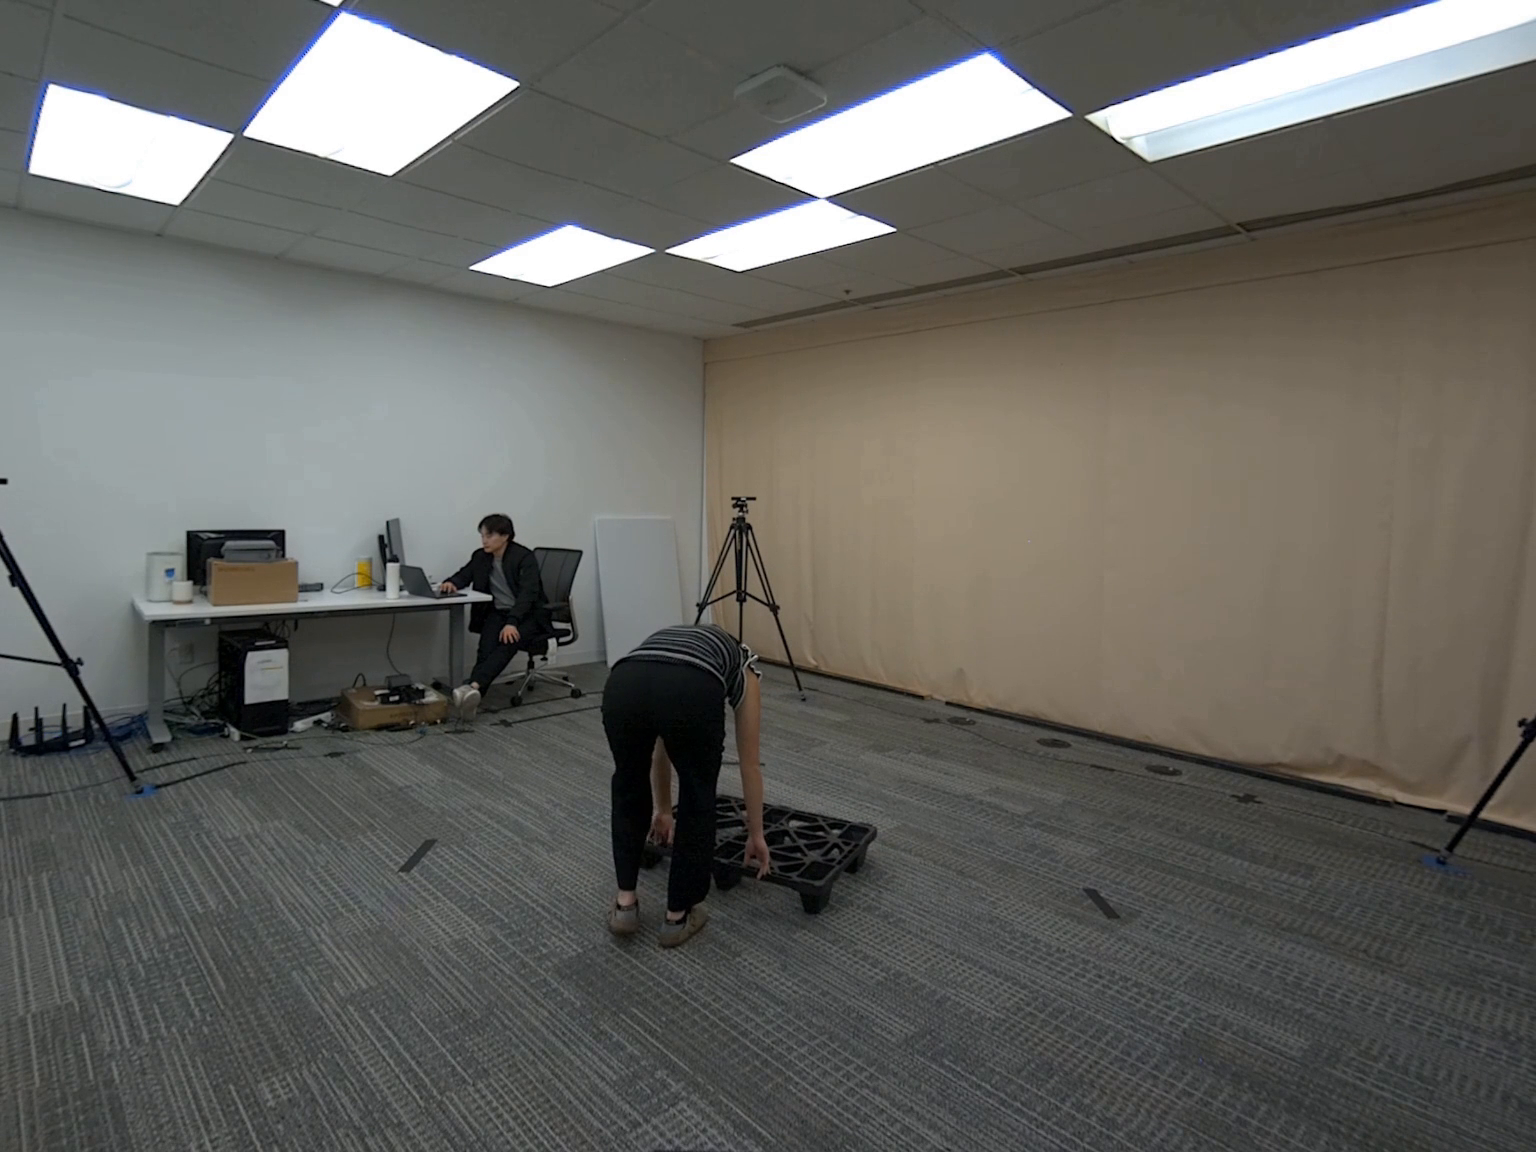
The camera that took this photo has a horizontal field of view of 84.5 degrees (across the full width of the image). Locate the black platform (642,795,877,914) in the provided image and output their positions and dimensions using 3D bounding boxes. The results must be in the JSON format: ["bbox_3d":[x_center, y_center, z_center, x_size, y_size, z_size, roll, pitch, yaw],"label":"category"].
[{"bbox_3d":[-0.067,1.032,3.201,0.822,0.143,0.594,4,5,27],"label":"black platform"}]
